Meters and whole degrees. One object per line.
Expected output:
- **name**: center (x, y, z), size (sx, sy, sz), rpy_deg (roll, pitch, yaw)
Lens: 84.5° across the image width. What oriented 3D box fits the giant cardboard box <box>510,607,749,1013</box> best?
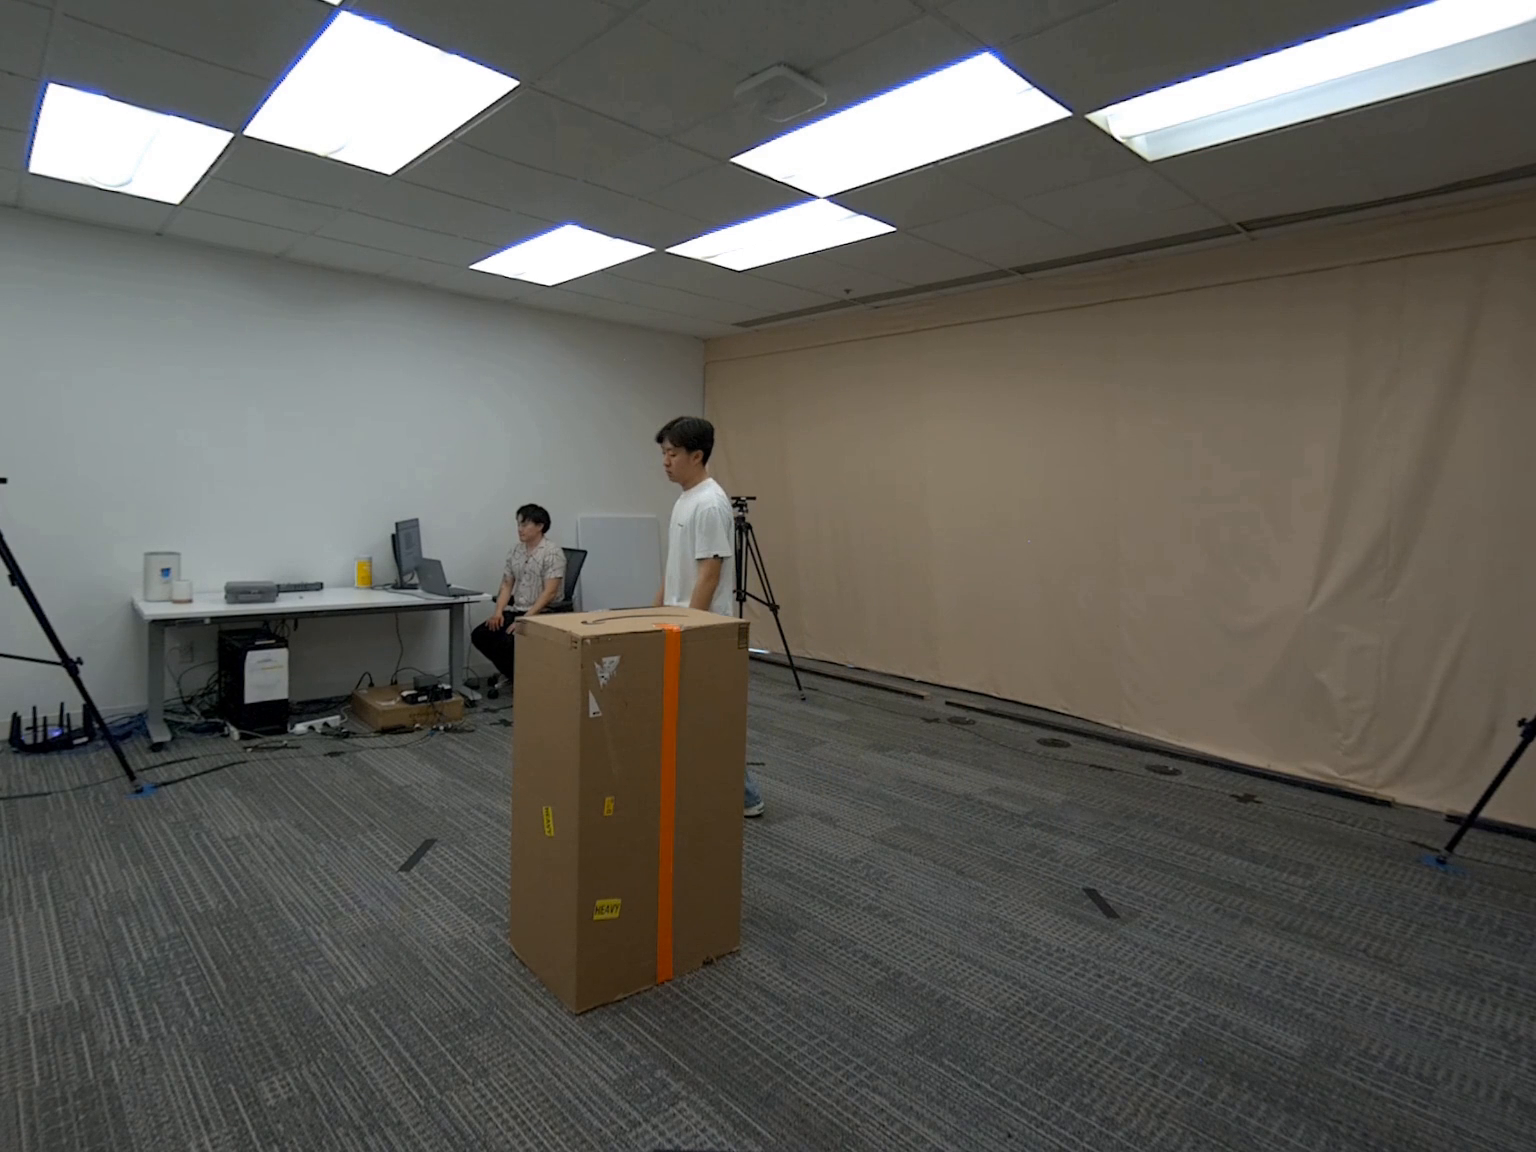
- **giant cardboard box**: center (-0.422, 0.642, 2.556), size (0.564, 1.023, 0.437), rpy_deg (-1, 4, -39)
